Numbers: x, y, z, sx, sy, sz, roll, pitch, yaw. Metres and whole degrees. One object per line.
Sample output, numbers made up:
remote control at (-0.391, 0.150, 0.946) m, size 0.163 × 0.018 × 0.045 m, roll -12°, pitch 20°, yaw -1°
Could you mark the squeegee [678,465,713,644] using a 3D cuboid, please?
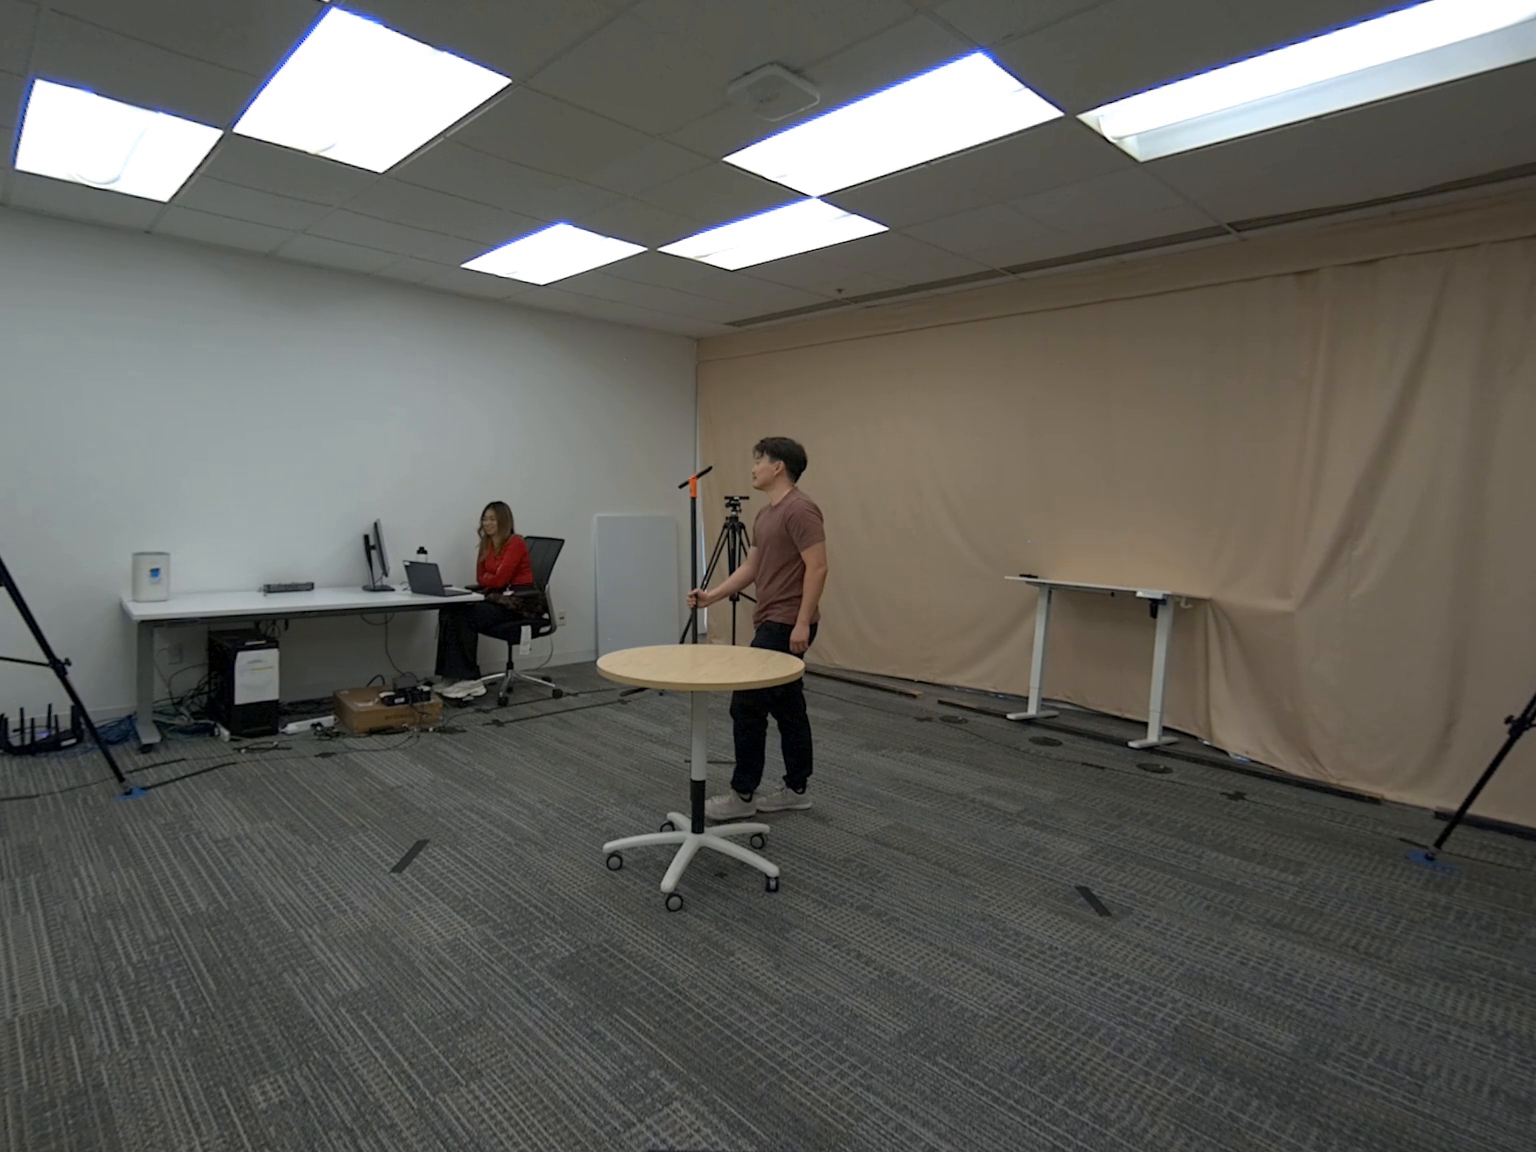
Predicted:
squeegee at (-0.349, 0.270, 3.876) m, size 0.052 × 1.547 × 0.442 m, roll 3°, pitch -9°, yaw -22°
